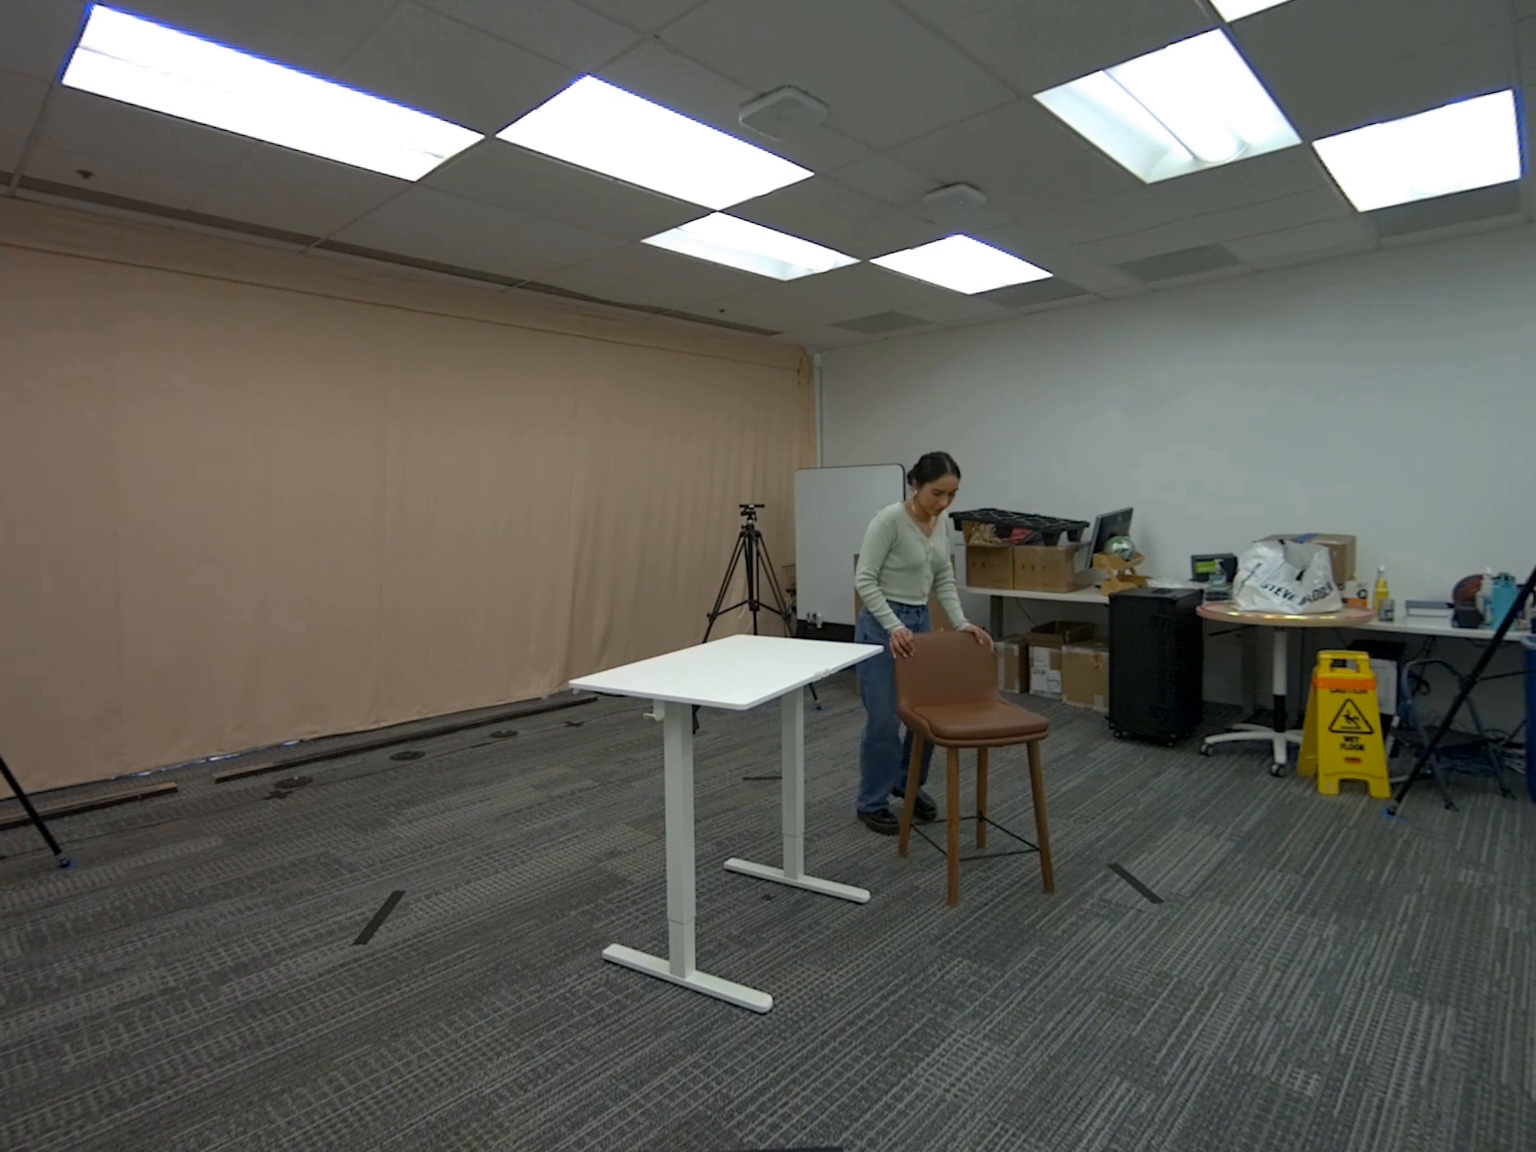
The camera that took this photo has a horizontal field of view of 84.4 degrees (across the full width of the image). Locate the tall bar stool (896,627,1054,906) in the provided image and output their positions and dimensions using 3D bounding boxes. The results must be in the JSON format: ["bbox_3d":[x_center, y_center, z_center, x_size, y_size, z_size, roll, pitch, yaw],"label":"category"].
[{"bbox_3d":[0.751,0.672,3.138,0.449,0.889,0.475,-1,1,-16],"label":"tall bar stool"}]
